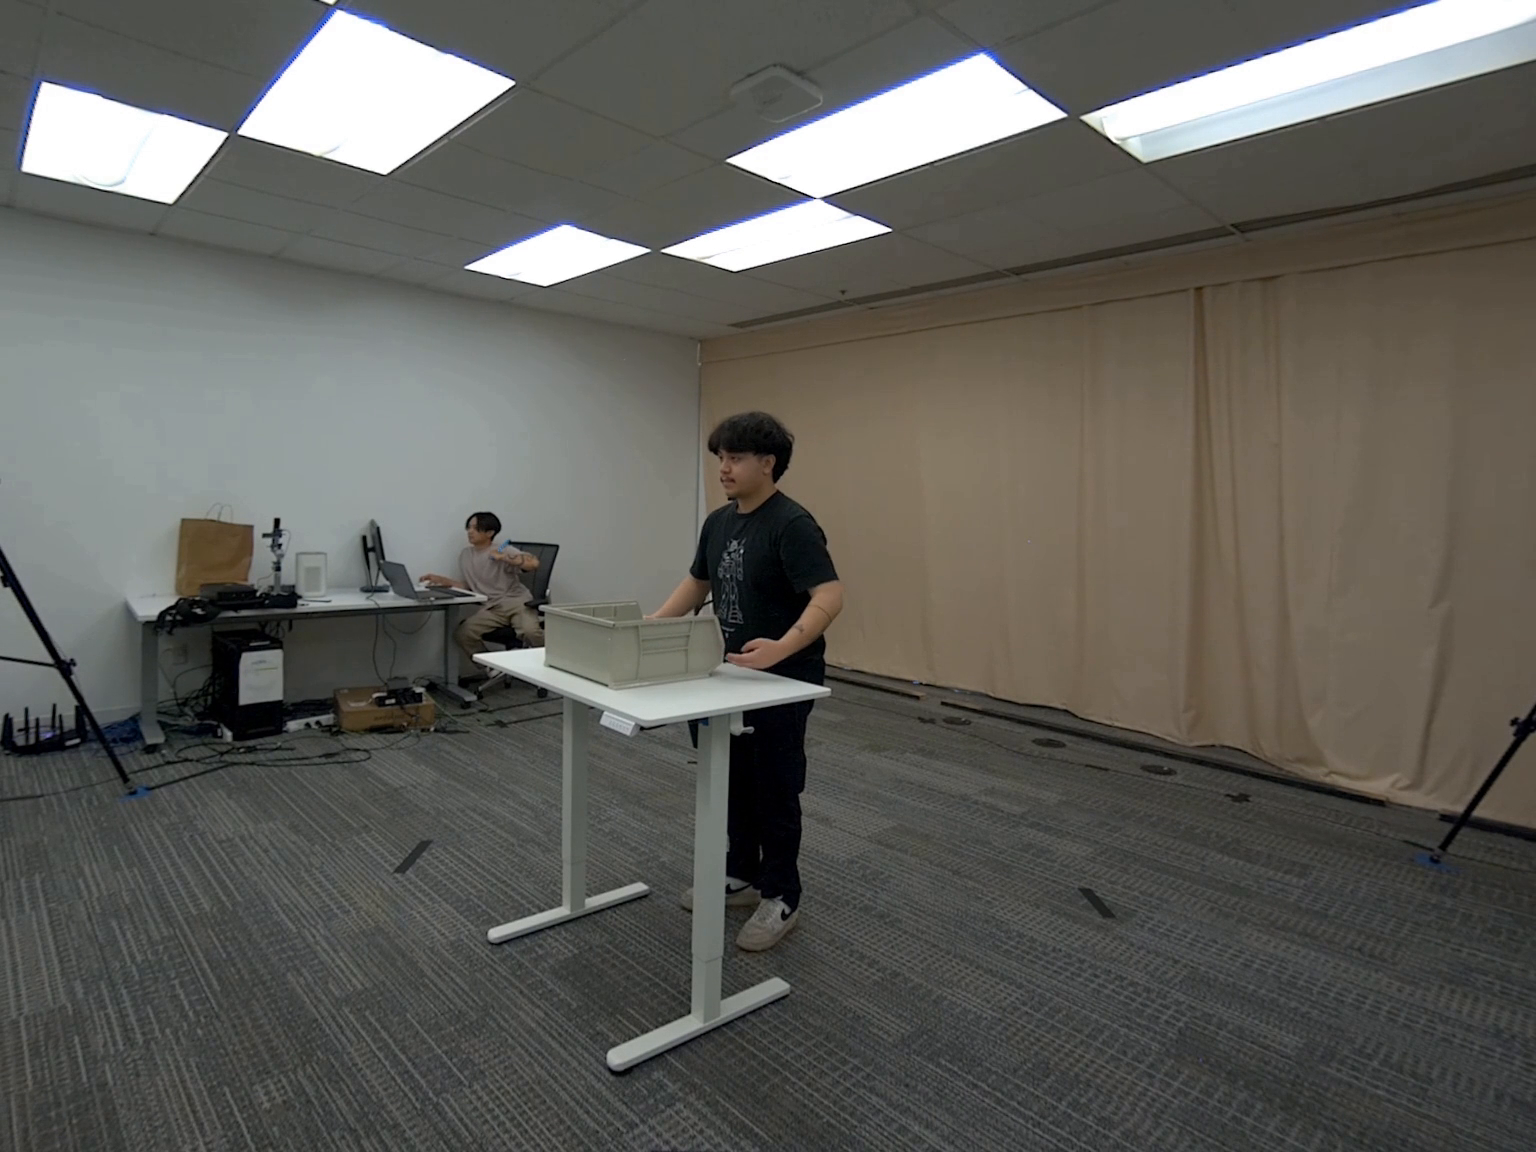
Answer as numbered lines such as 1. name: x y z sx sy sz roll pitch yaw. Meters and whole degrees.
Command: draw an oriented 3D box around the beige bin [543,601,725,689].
1. beige bin: -0.414 0.193 2.451 0.369 0.188 0.433 -3 7 -40
